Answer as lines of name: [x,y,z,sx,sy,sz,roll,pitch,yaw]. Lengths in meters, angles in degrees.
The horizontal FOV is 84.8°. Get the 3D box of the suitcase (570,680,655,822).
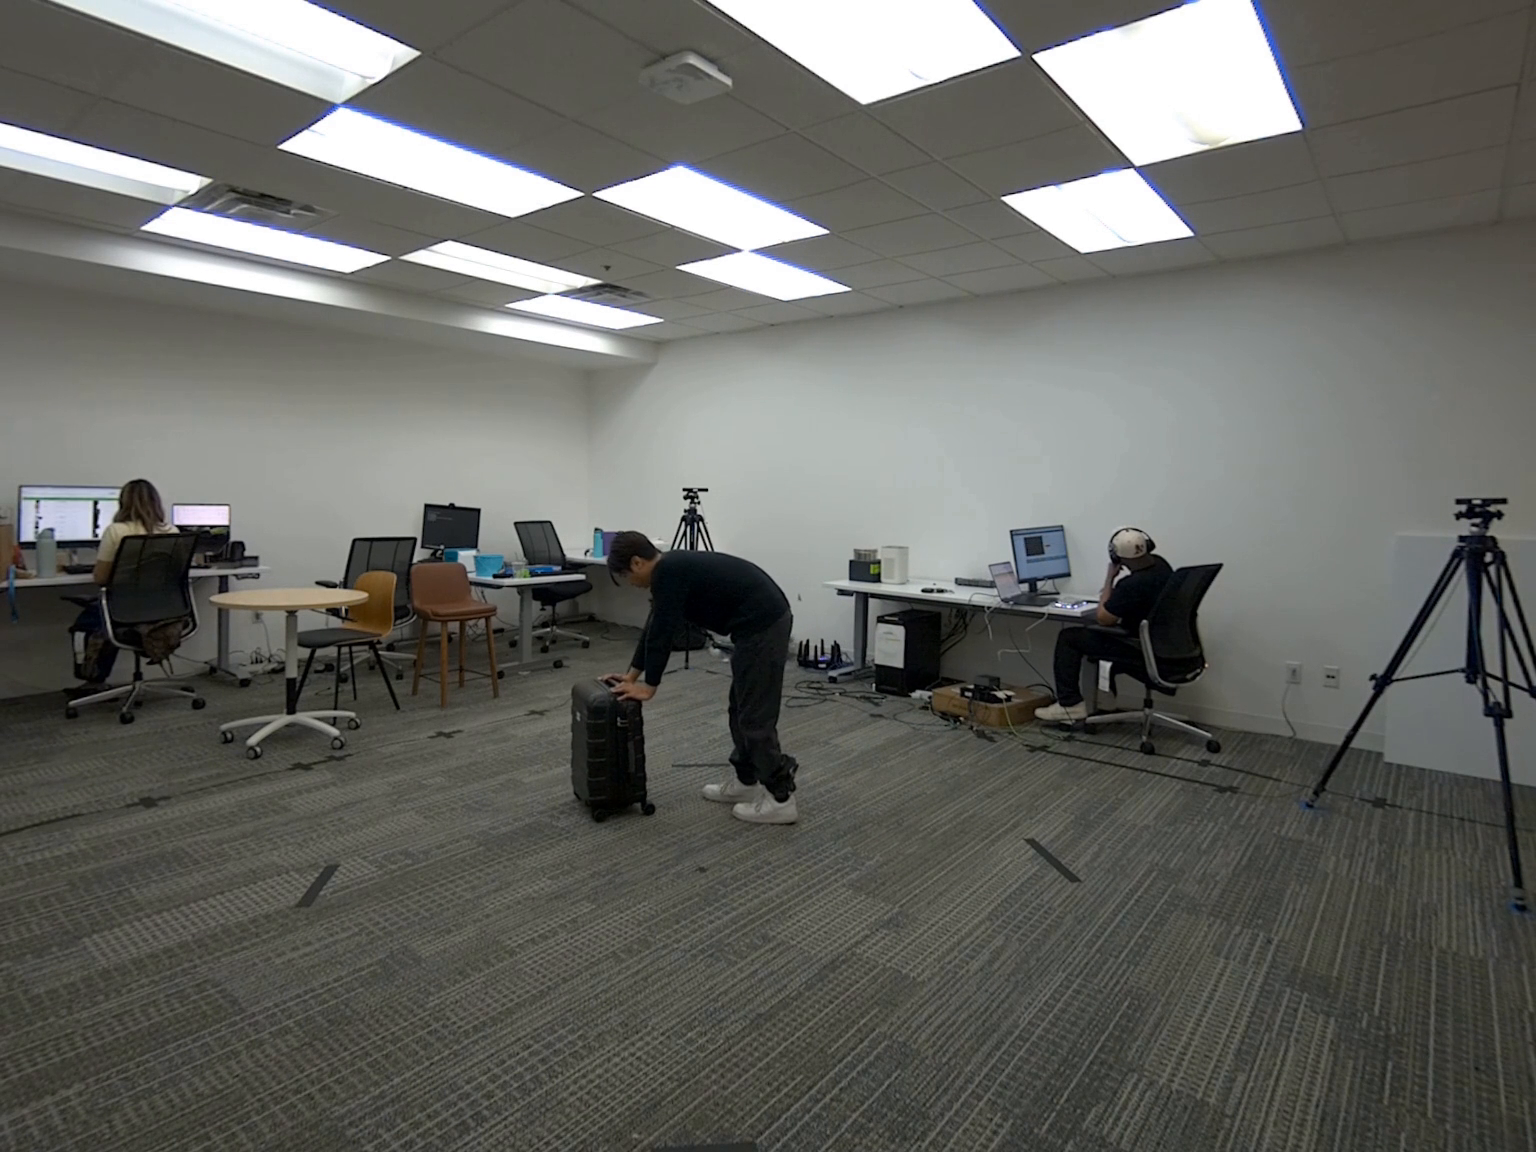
suitcase: [-0.706,0.732,3.706,0.242,0.547,0.386,-4,5,-26]
